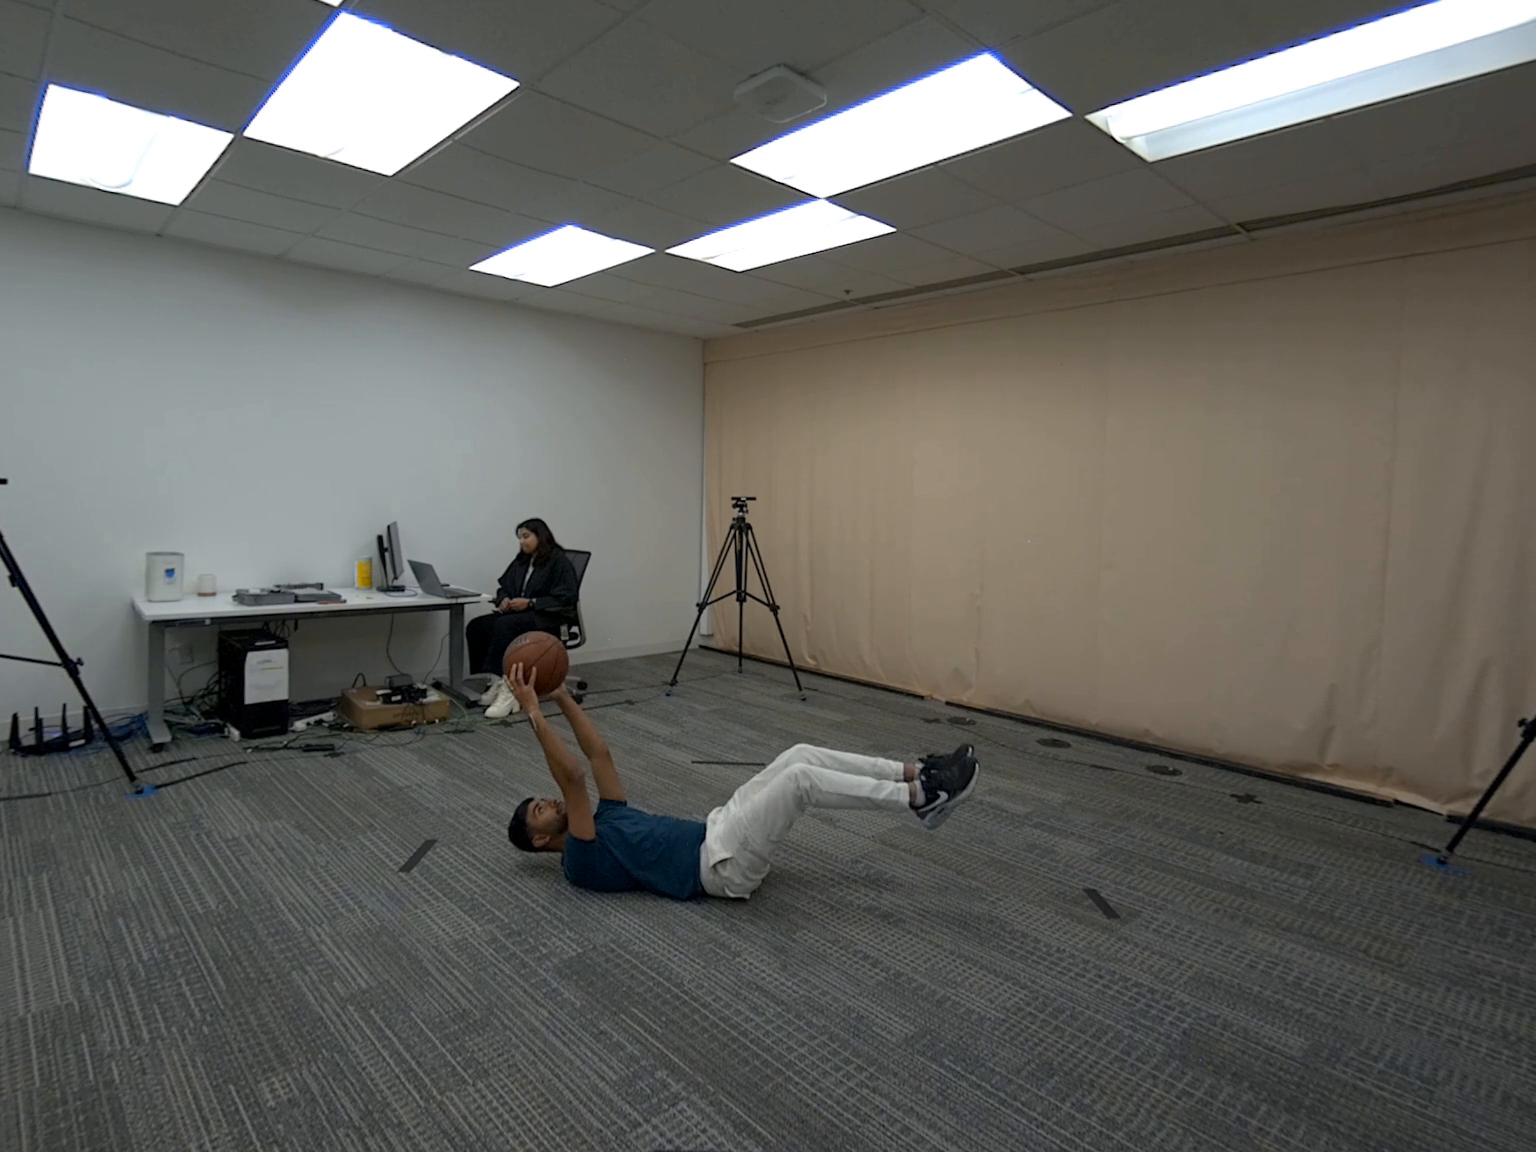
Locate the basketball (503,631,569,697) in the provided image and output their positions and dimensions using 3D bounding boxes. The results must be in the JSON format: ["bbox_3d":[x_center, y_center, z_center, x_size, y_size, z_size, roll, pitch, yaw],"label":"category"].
[{"bbox_3d":[-0.859,0.326,3.090,0.236,0.235,0.237,1,4,-1],"label":"basketball"}]
